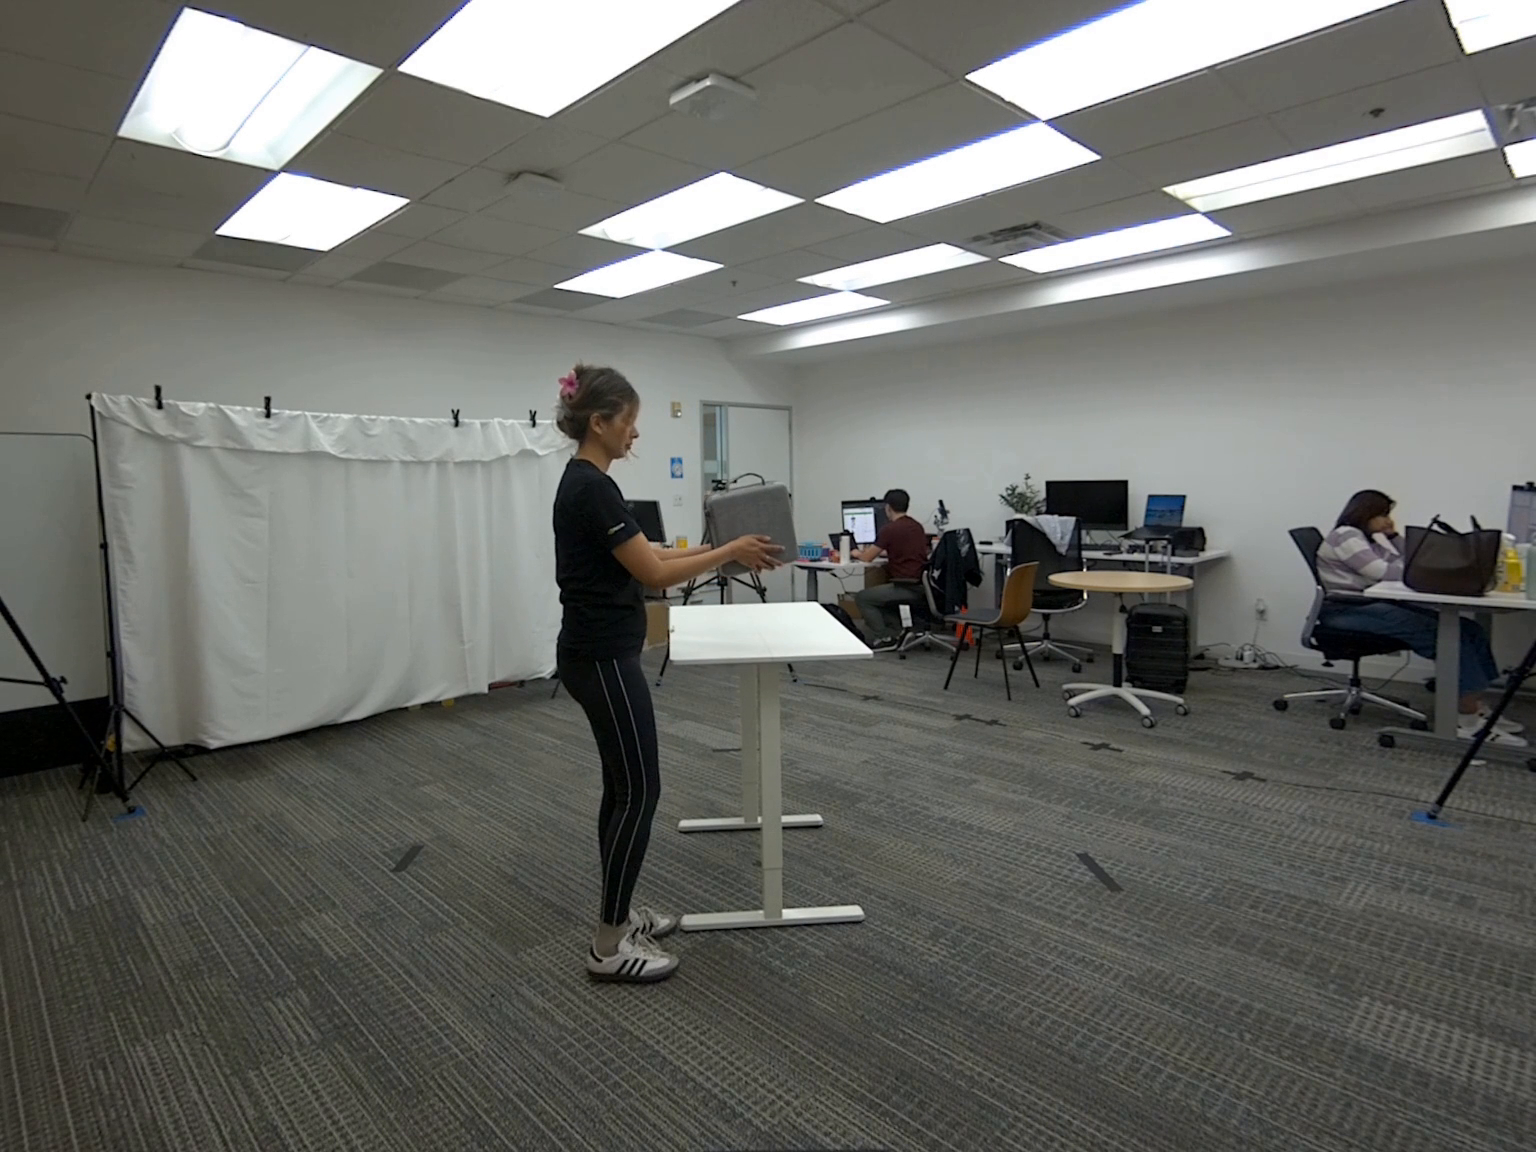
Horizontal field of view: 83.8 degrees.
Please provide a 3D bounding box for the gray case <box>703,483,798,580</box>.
[{"bbox_3d":[-0.044,-0.153,2.575,0.254,0.259,0.106,-12,6,-12],"label":"gray case"}]
